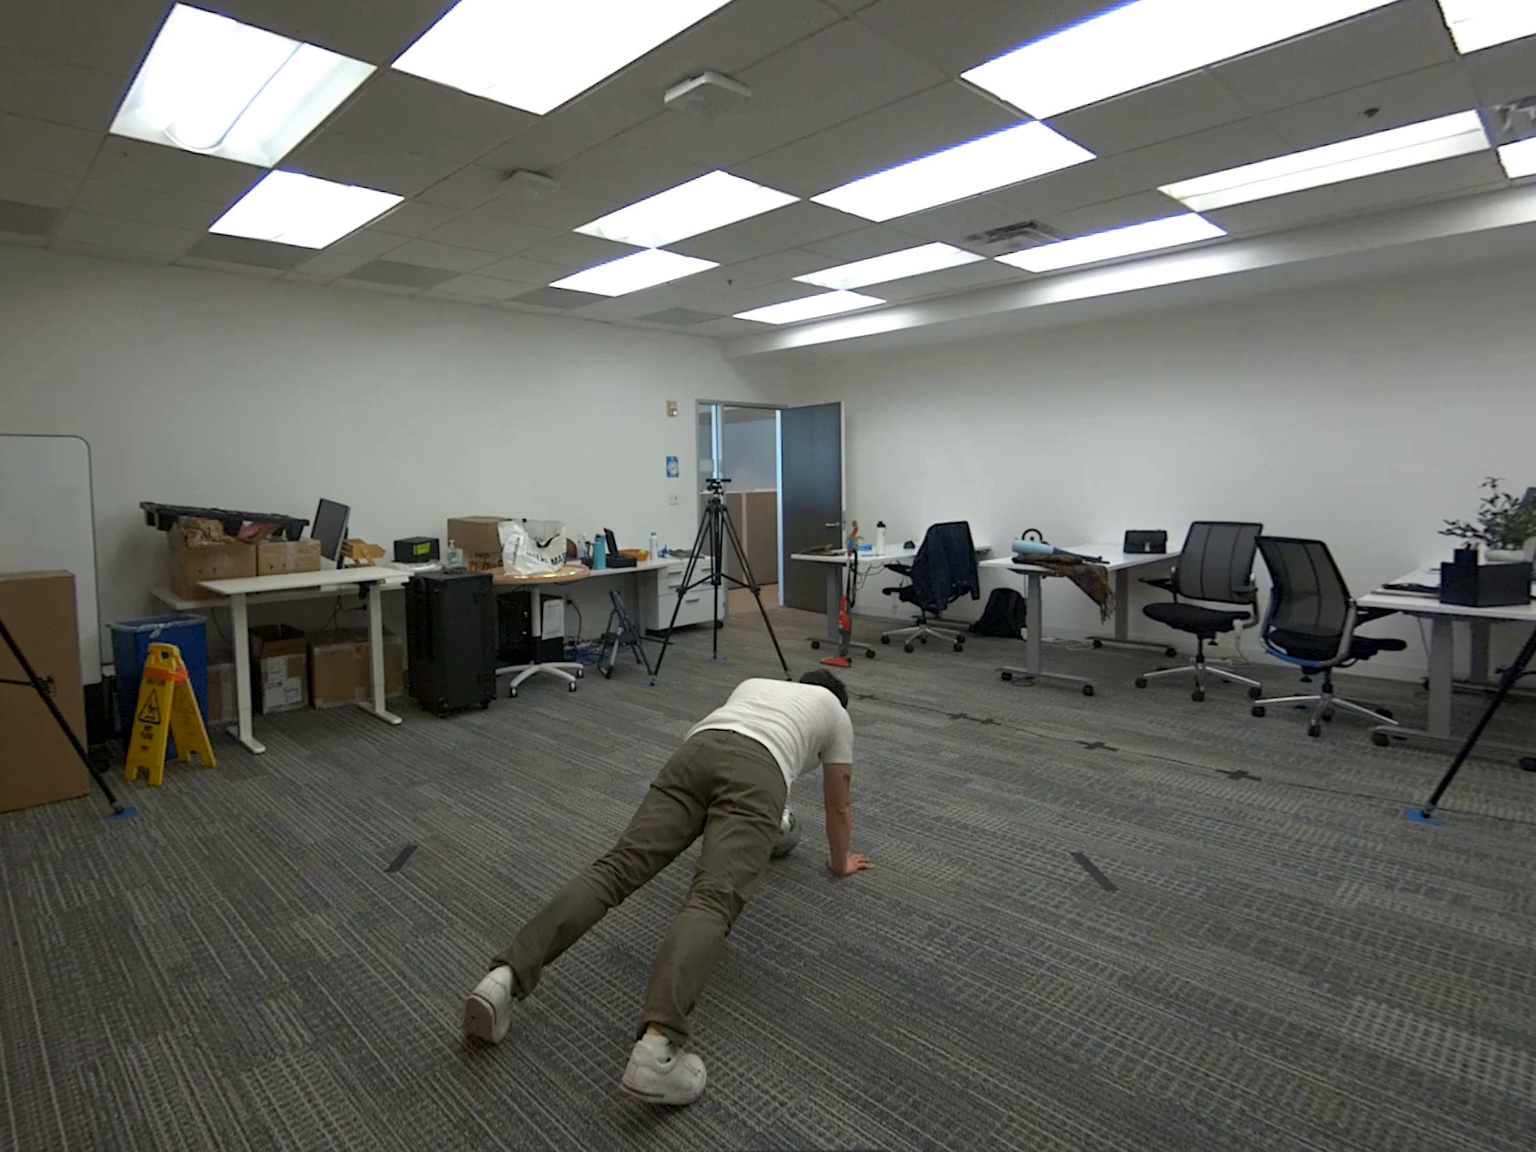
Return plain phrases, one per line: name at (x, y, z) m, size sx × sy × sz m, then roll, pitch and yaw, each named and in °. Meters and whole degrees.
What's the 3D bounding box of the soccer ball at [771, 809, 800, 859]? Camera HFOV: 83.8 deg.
soccer ball at (0.034, 0.939, 3.175) m, size 0.187 × 0.187 × 0.188 m, roll -1°, pitch 5°, yaw -2°
